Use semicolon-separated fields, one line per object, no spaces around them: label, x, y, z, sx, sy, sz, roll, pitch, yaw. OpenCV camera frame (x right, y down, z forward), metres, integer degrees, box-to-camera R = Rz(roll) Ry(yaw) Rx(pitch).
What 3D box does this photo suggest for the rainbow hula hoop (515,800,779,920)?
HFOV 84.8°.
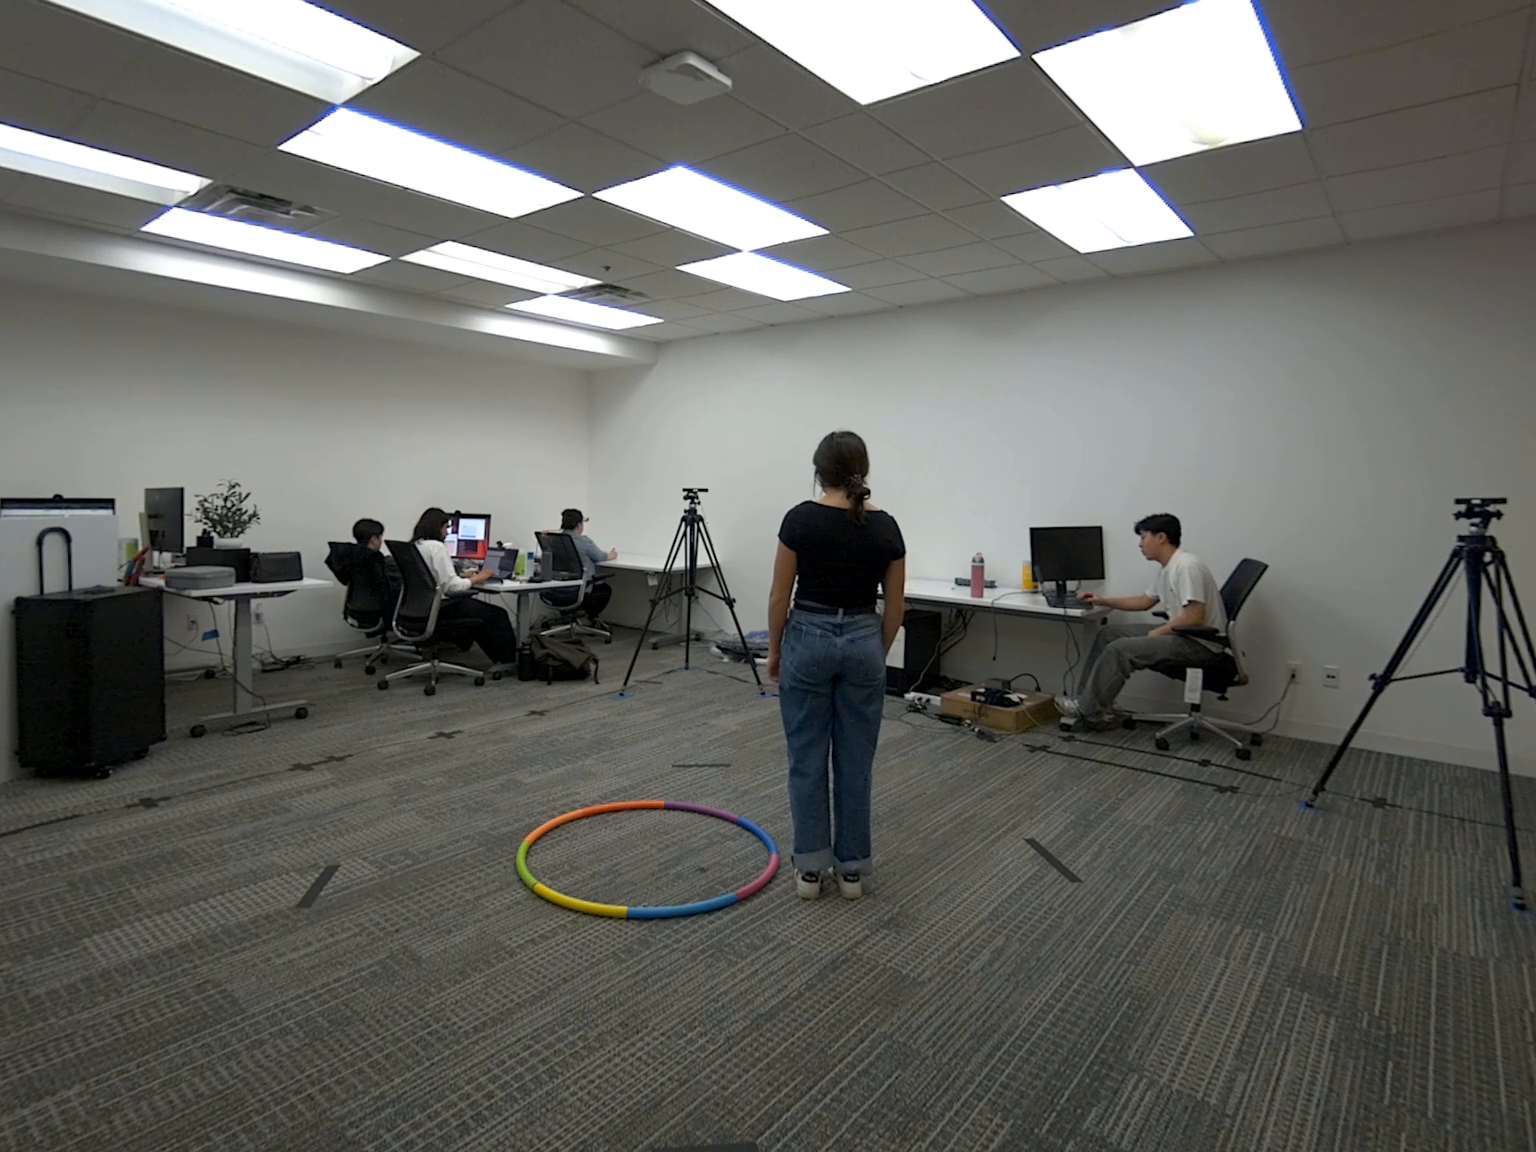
rainbow hula hoop;-0.445;1.020;3.215;0.978;0.035;0.984;1;6;-2
